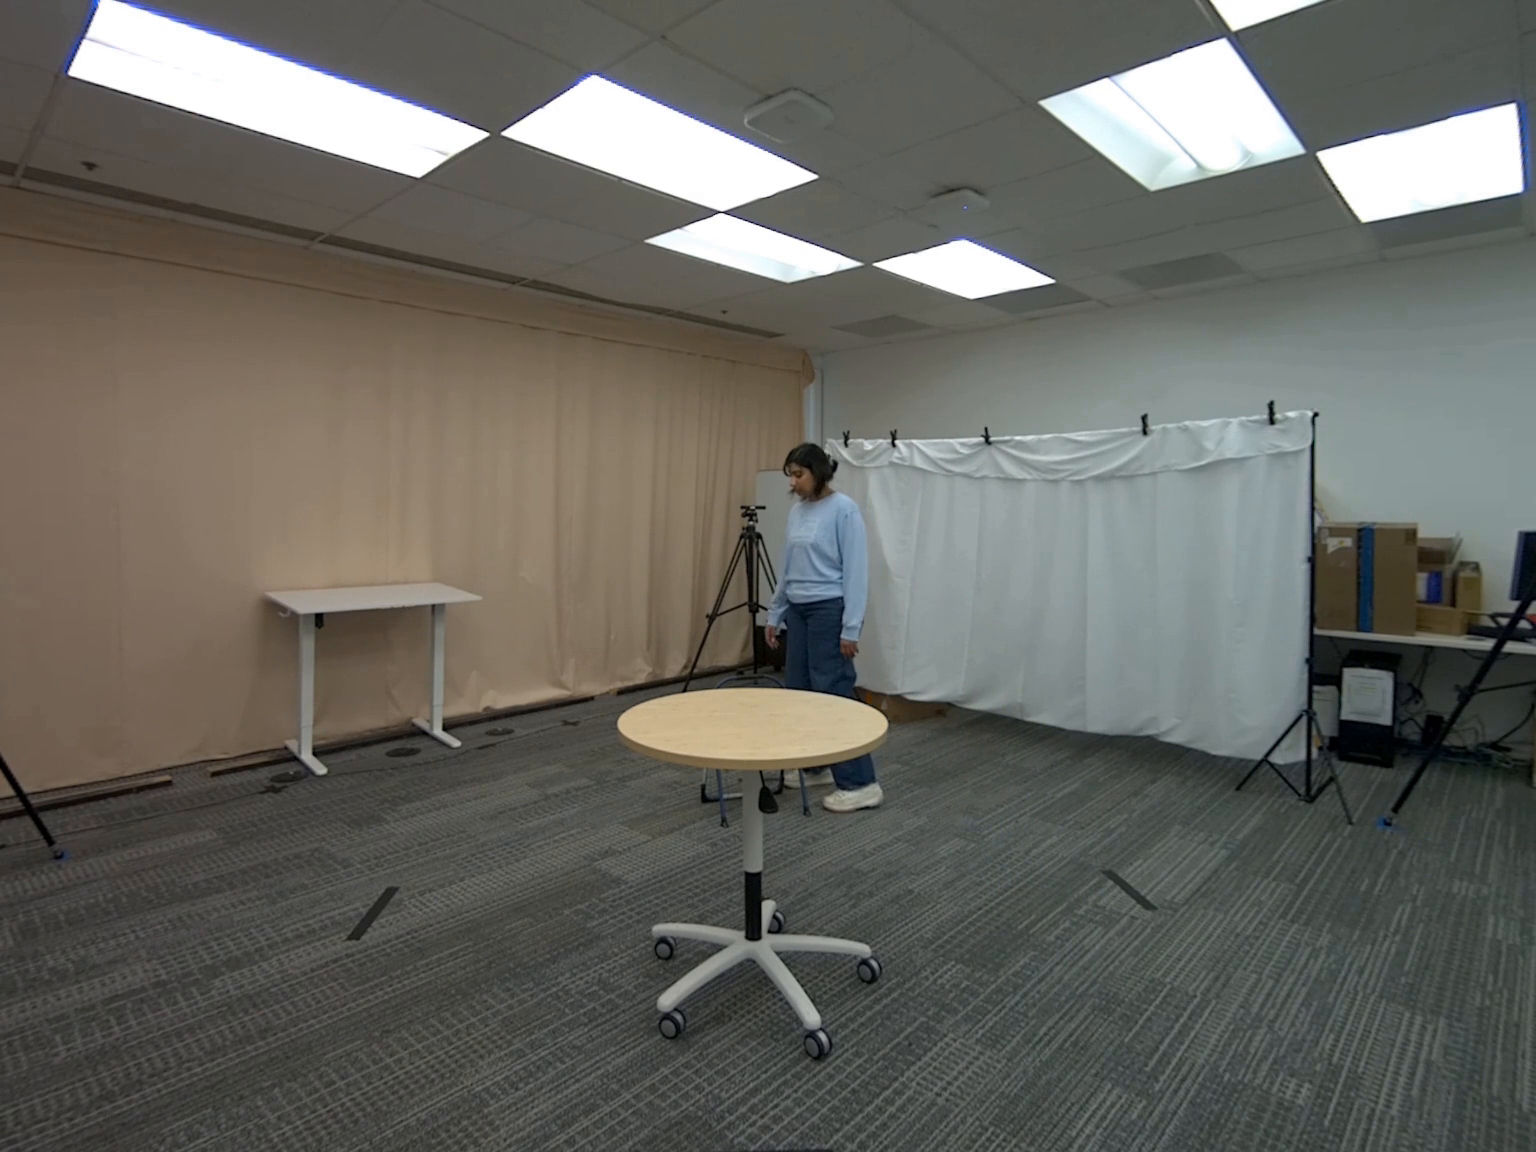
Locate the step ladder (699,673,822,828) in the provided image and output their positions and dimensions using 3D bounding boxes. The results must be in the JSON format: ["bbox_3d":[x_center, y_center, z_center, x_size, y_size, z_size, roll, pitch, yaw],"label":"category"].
[{"bbox_3d":[-0.065,0.768,3.867,0.422,0.605,0.357,-1,3,-20],"label":"step ladder"}]
